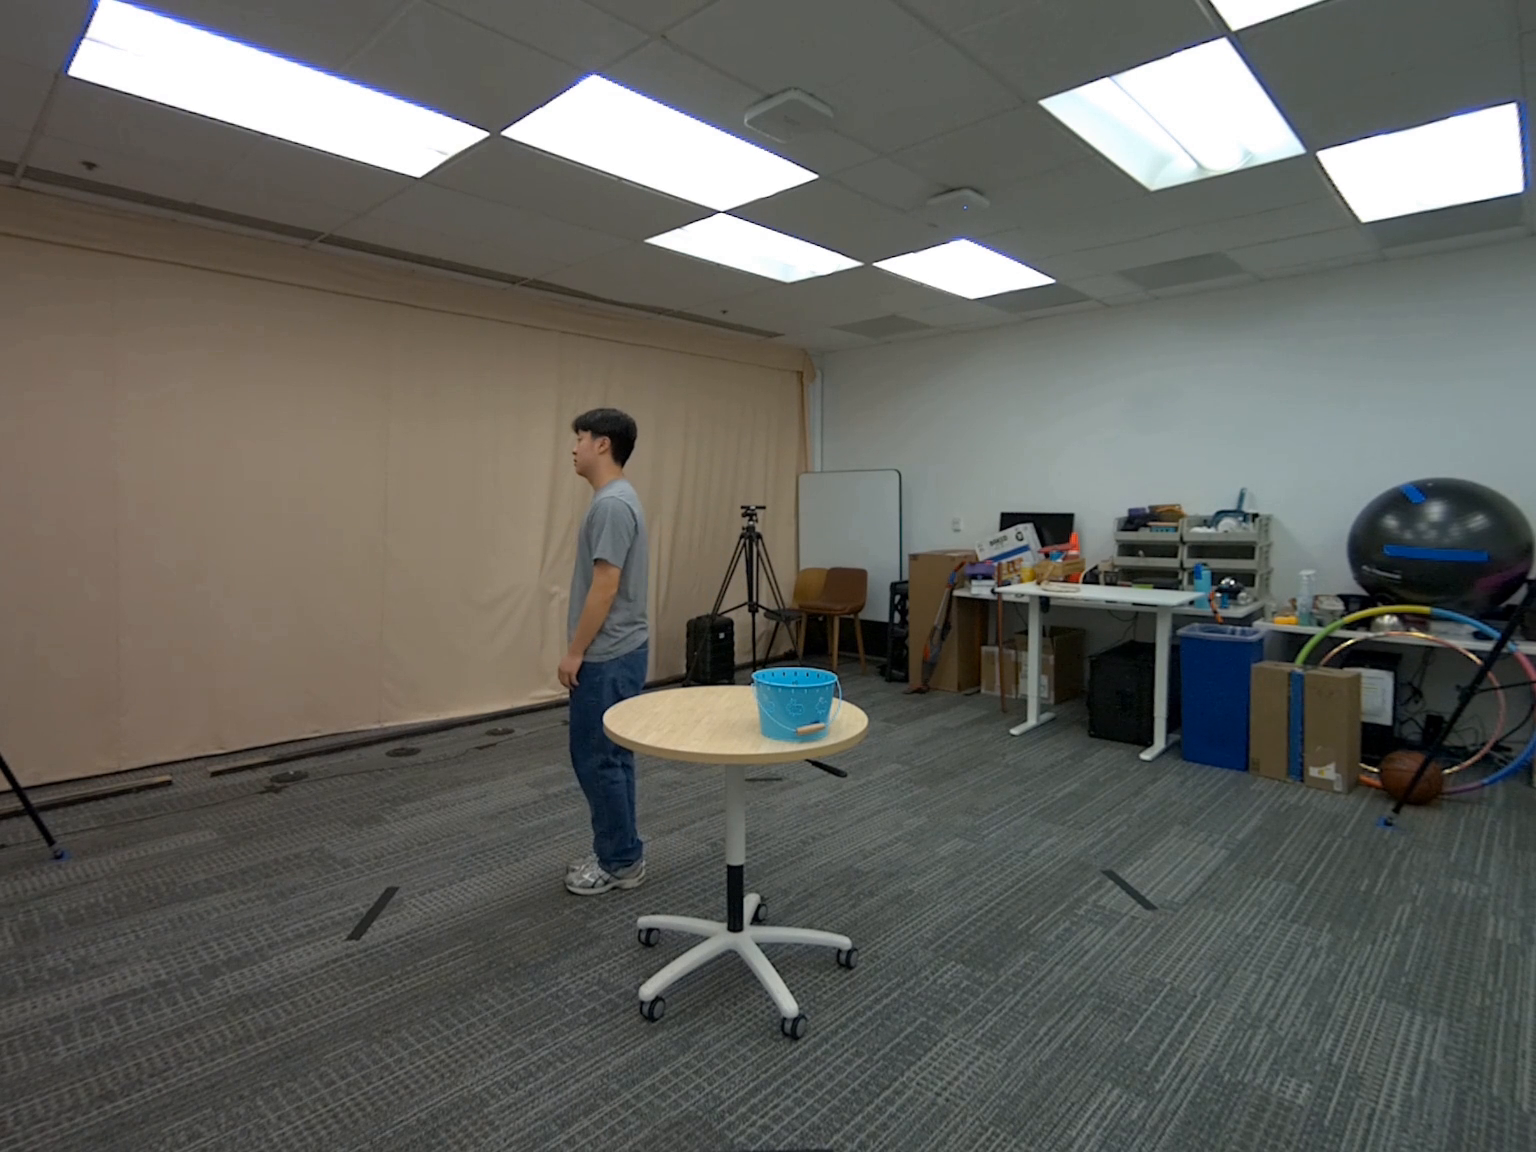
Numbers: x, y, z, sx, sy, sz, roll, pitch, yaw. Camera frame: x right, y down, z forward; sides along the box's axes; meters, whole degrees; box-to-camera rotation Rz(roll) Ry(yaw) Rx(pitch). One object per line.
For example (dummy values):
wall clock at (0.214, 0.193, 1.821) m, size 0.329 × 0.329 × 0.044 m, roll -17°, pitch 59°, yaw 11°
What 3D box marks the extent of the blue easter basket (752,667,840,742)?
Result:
blue easter basket at (0.072, 0.351, 2.254) m, size 0.243 × 0.155 × 0.244 m, roll 0°, pitch 5°, yaw -2°
